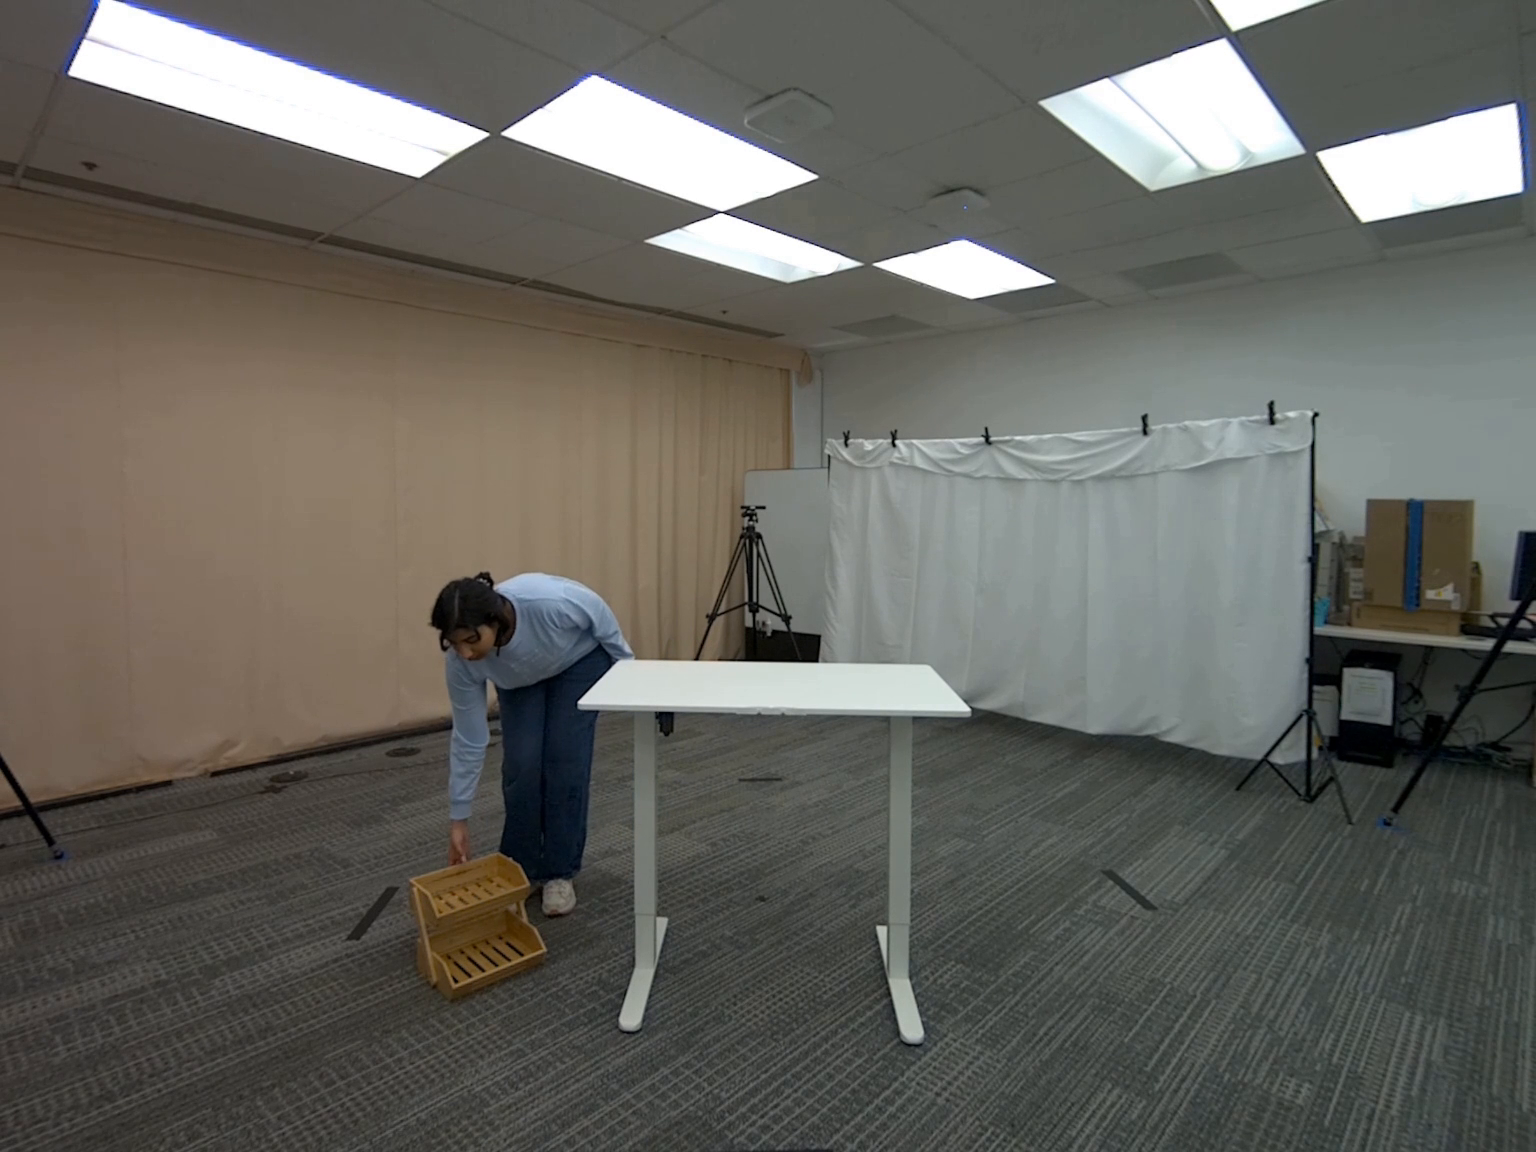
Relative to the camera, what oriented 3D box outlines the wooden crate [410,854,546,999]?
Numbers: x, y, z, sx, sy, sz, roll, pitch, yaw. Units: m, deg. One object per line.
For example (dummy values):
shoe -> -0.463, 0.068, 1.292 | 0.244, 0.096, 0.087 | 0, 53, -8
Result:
wooden crate -> -0.875, 1.041, 2.565 | 0.314, 0.273, 0.312 | -4, 4, -44
